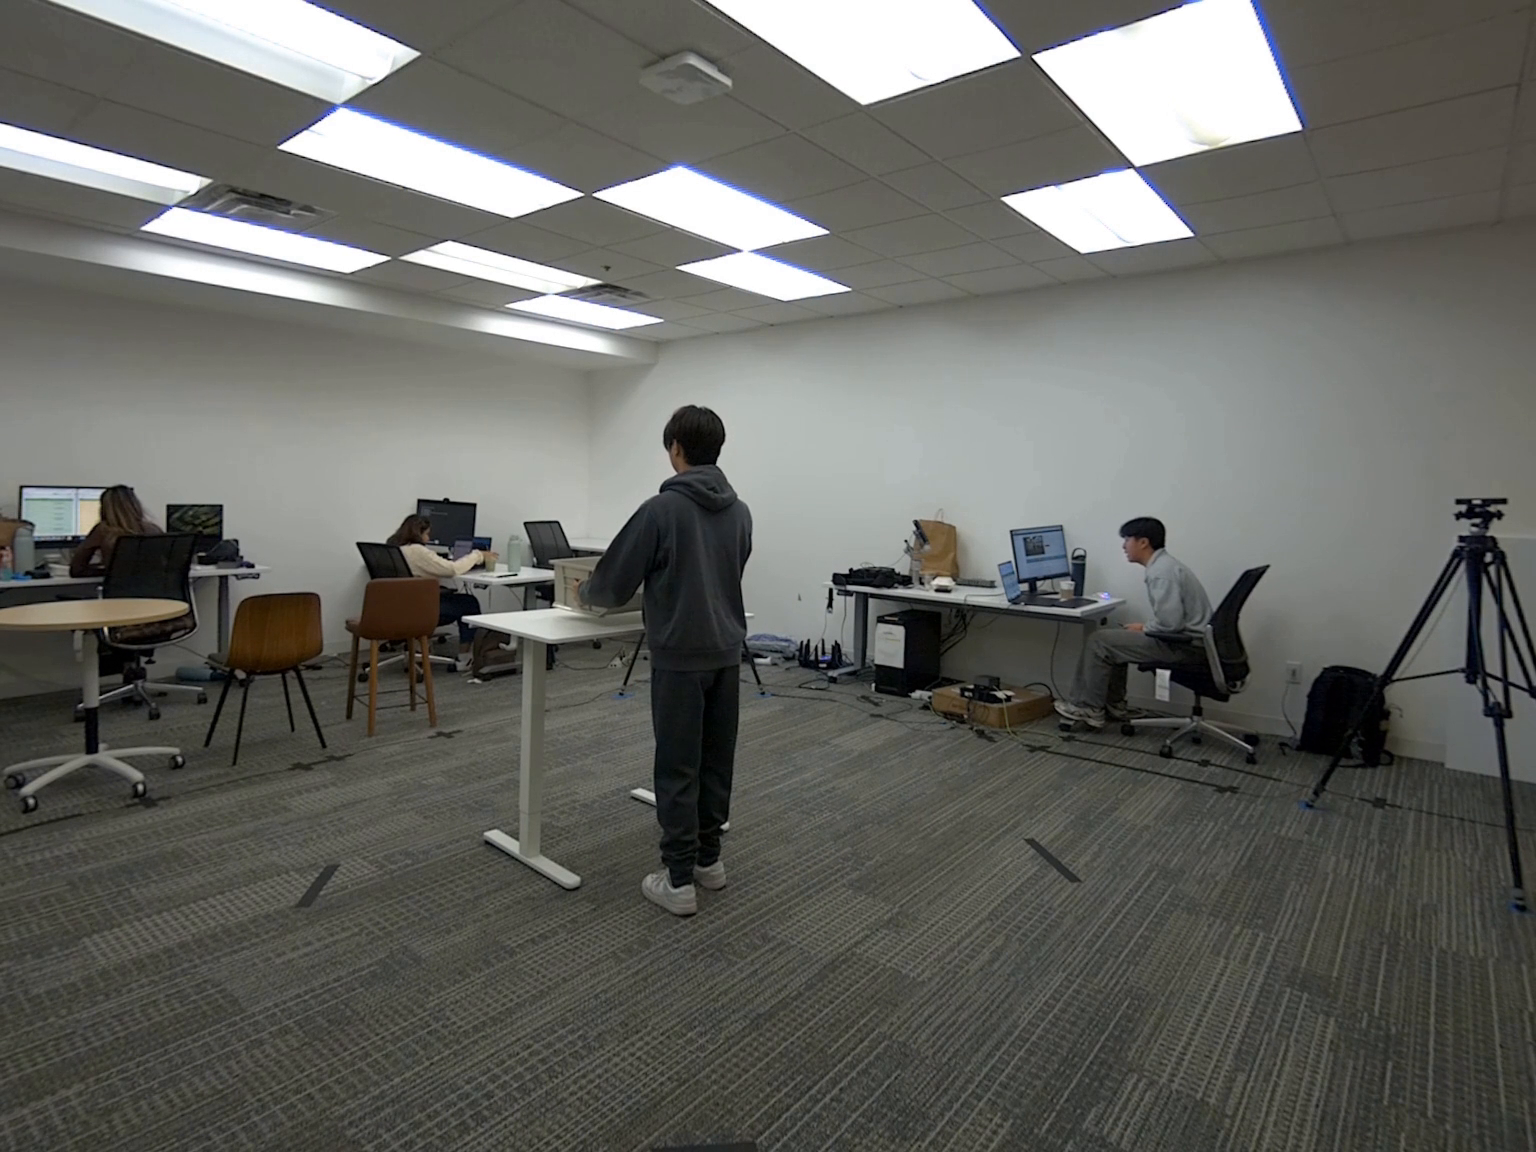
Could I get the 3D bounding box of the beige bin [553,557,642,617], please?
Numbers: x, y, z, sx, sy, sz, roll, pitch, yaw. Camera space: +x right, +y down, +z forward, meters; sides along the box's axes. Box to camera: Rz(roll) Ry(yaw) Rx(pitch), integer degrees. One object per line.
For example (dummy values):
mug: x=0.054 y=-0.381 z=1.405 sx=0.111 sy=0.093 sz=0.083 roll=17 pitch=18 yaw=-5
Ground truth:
beige bin: x=-0.580 y=0.034 z=3.308 sx=0.410 sy=0.188 sz=0.390 roll=-7 pitch=9 yaw=-43
